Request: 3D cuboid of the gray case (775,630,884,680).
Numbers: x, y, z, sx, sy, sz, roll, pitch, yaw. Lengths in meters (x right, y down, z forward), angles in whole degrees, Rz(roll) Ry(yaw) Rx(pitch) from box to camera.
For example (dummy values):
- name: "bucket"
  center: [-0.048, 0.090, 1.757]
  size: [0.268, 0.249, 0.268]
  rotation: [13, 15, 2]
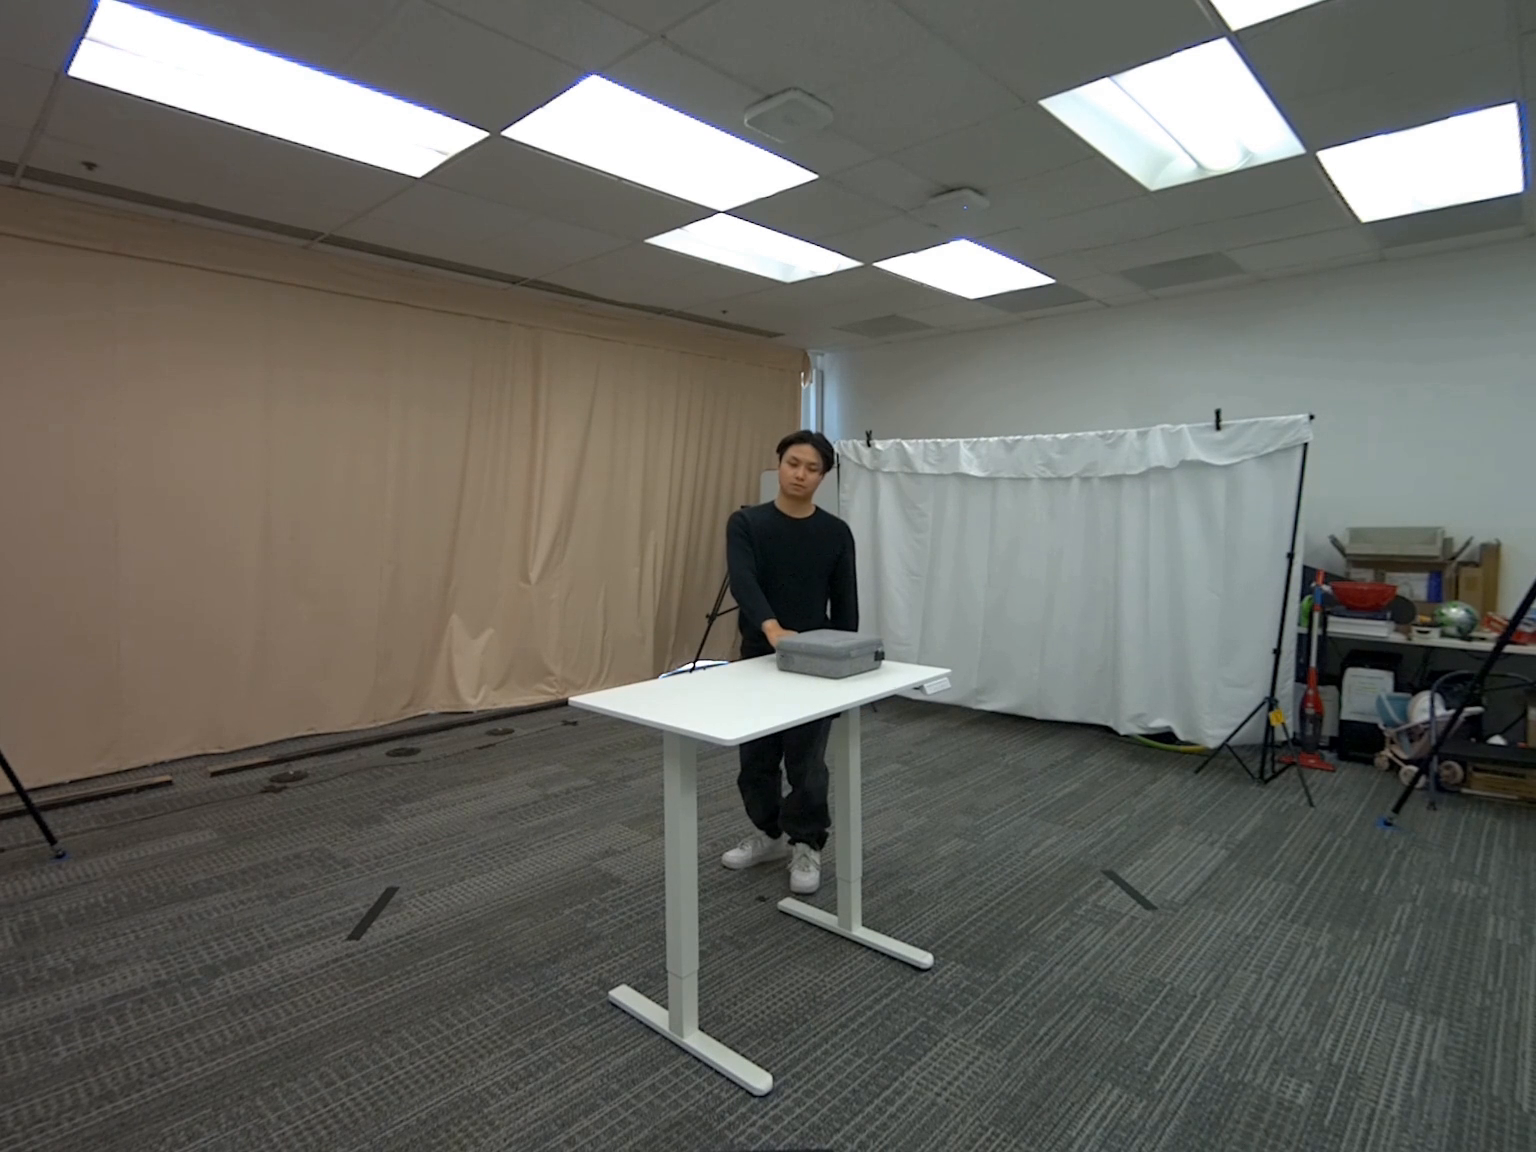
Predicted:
- name: "gray case"
  center: [0.186, 0.236, 2.607]
  size: [0.269, 0.104, 0.249]
  rotation: [3, 8, 43]
